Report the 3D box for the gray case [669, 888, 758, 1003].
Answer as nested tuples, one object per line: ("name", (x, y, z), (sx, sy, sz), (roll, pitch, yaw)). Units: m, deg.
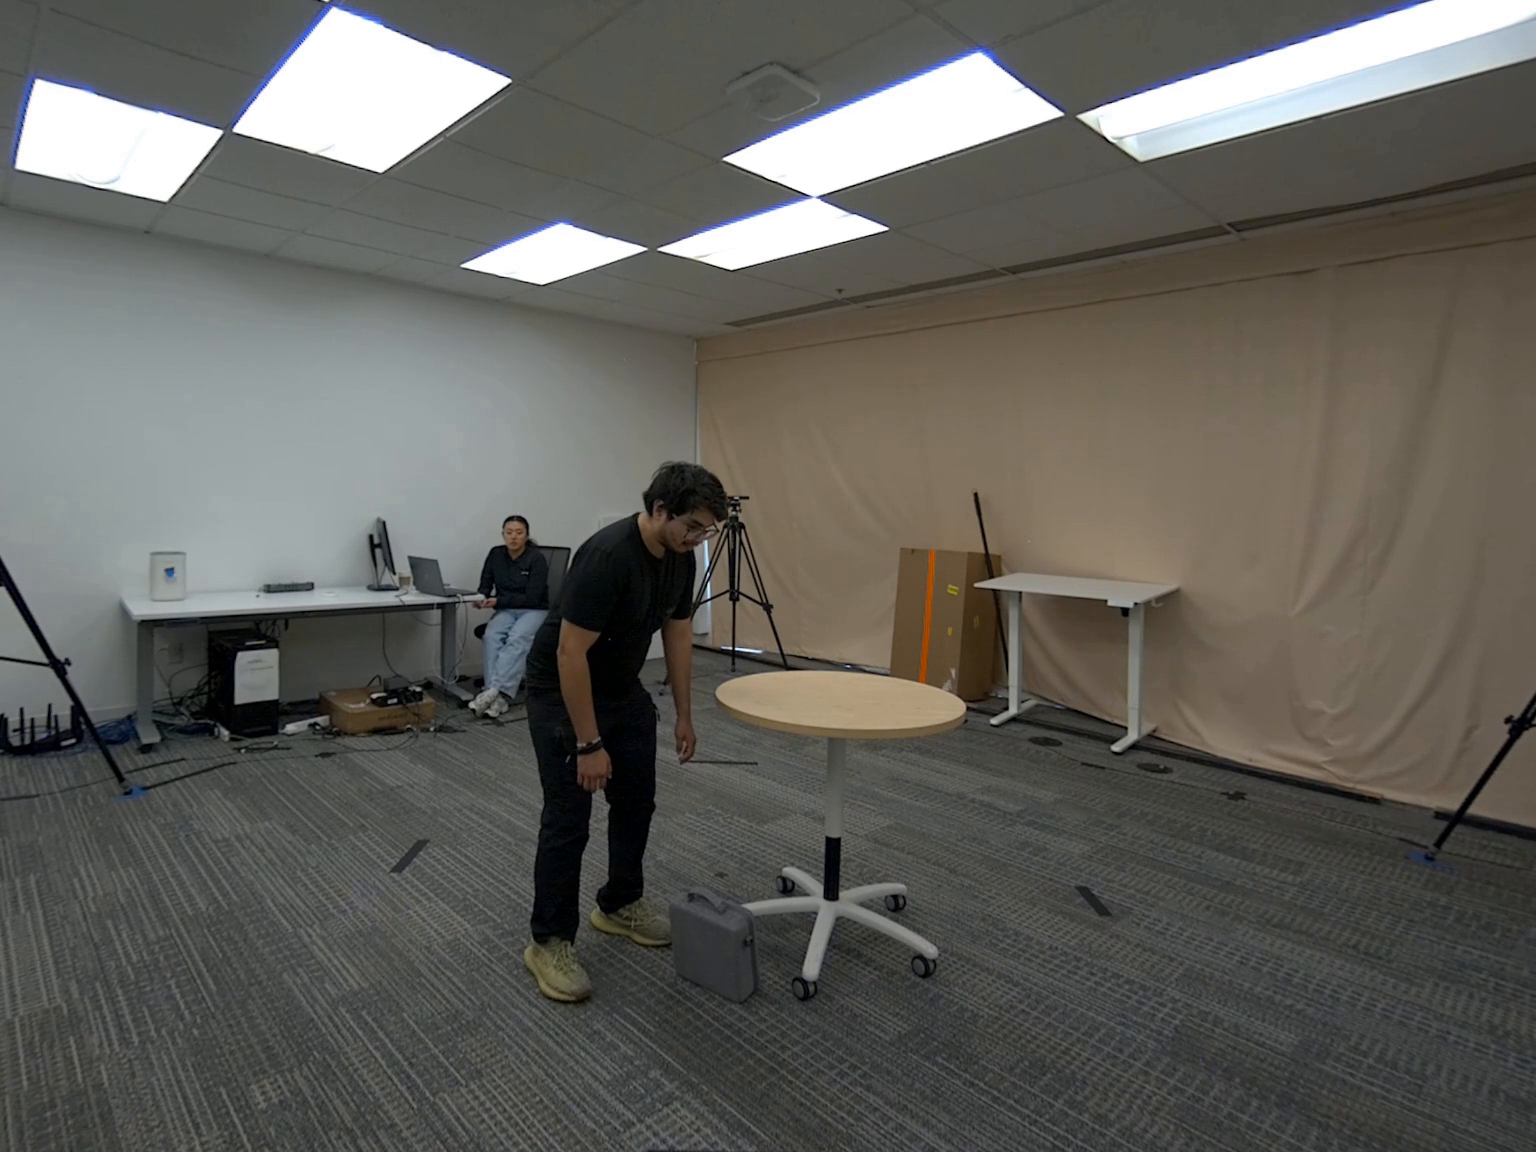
("gray case", (-0.154, 1.047, 2.380), (0.263, 0.258, 0.103), (6, 14, 36))
